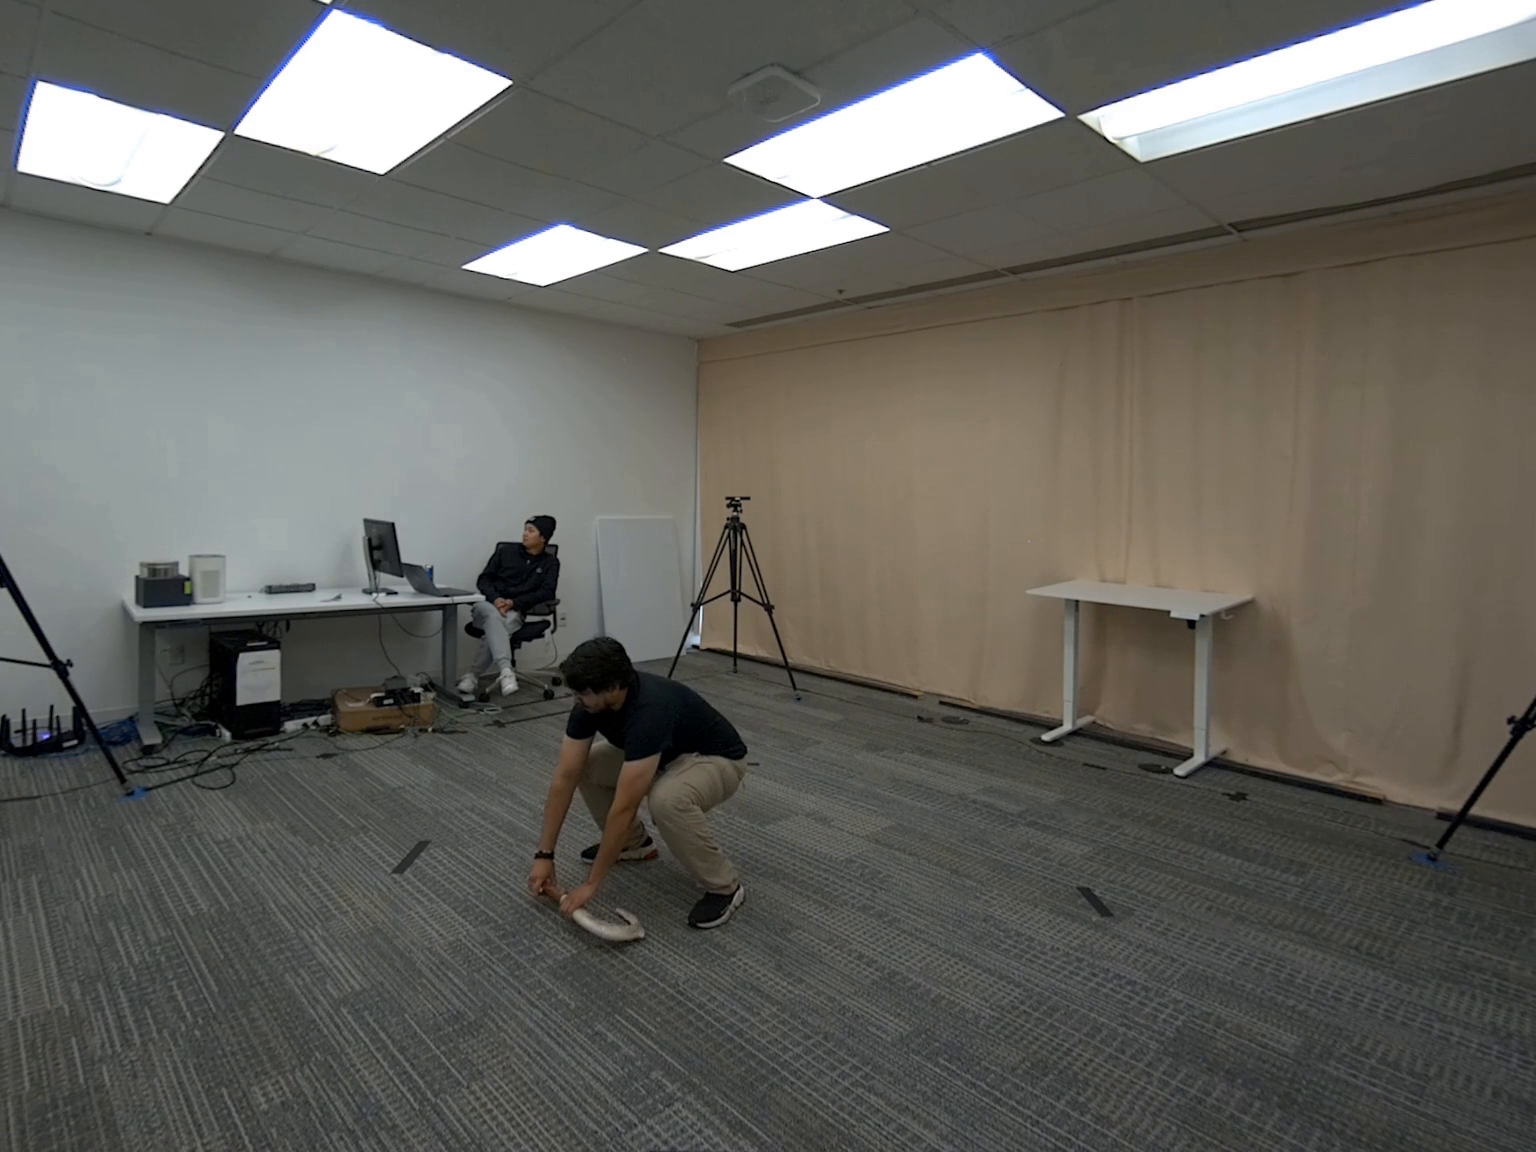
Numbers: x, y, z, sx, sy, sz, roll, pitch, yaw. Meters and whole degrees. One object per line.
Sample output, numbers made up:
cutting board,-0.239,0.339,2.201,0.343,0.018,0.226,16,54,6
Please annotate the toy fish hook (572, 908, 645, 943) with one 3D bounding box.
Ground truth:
toy fish hook,-0.606,1.090,2.771,0.520,0.048,0.218,10,-9,42
